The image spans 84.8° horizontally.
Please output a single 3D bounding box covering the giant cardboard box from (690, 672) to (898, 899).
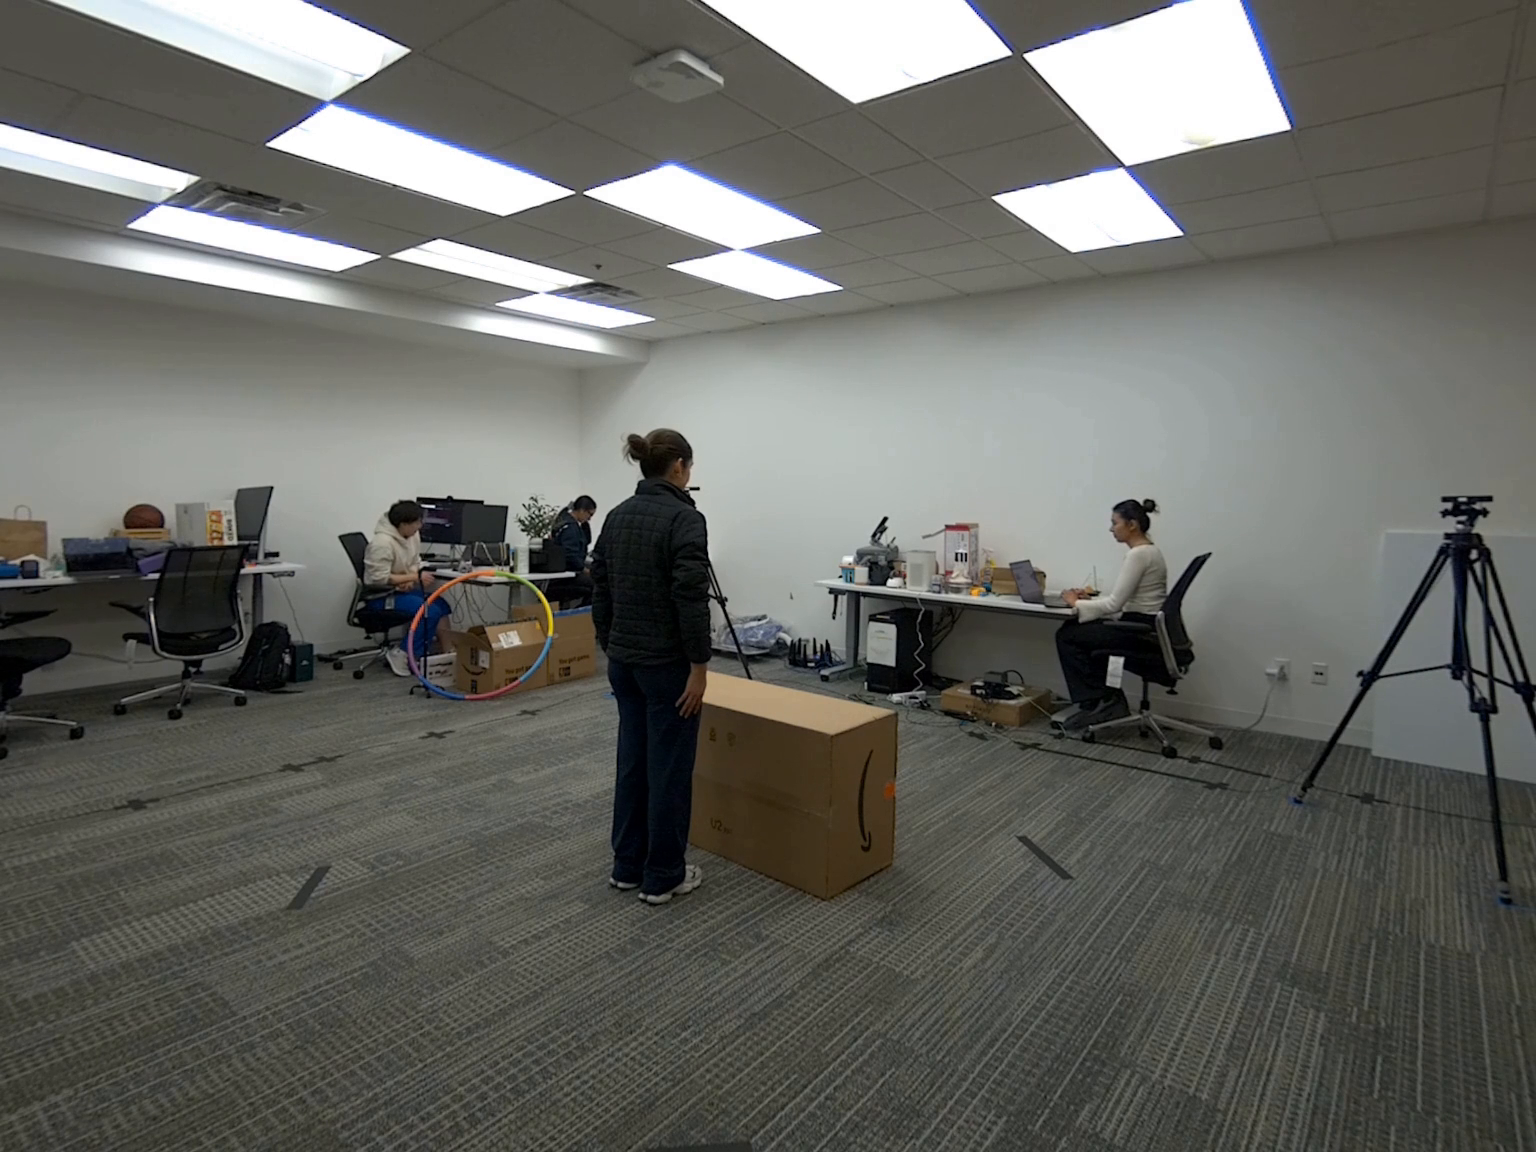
[{"bbox_3d":[-0.032,0.758,3.373,1.062,0.581,0.434,6,7,43],"label":"giant cardboard box"}]
